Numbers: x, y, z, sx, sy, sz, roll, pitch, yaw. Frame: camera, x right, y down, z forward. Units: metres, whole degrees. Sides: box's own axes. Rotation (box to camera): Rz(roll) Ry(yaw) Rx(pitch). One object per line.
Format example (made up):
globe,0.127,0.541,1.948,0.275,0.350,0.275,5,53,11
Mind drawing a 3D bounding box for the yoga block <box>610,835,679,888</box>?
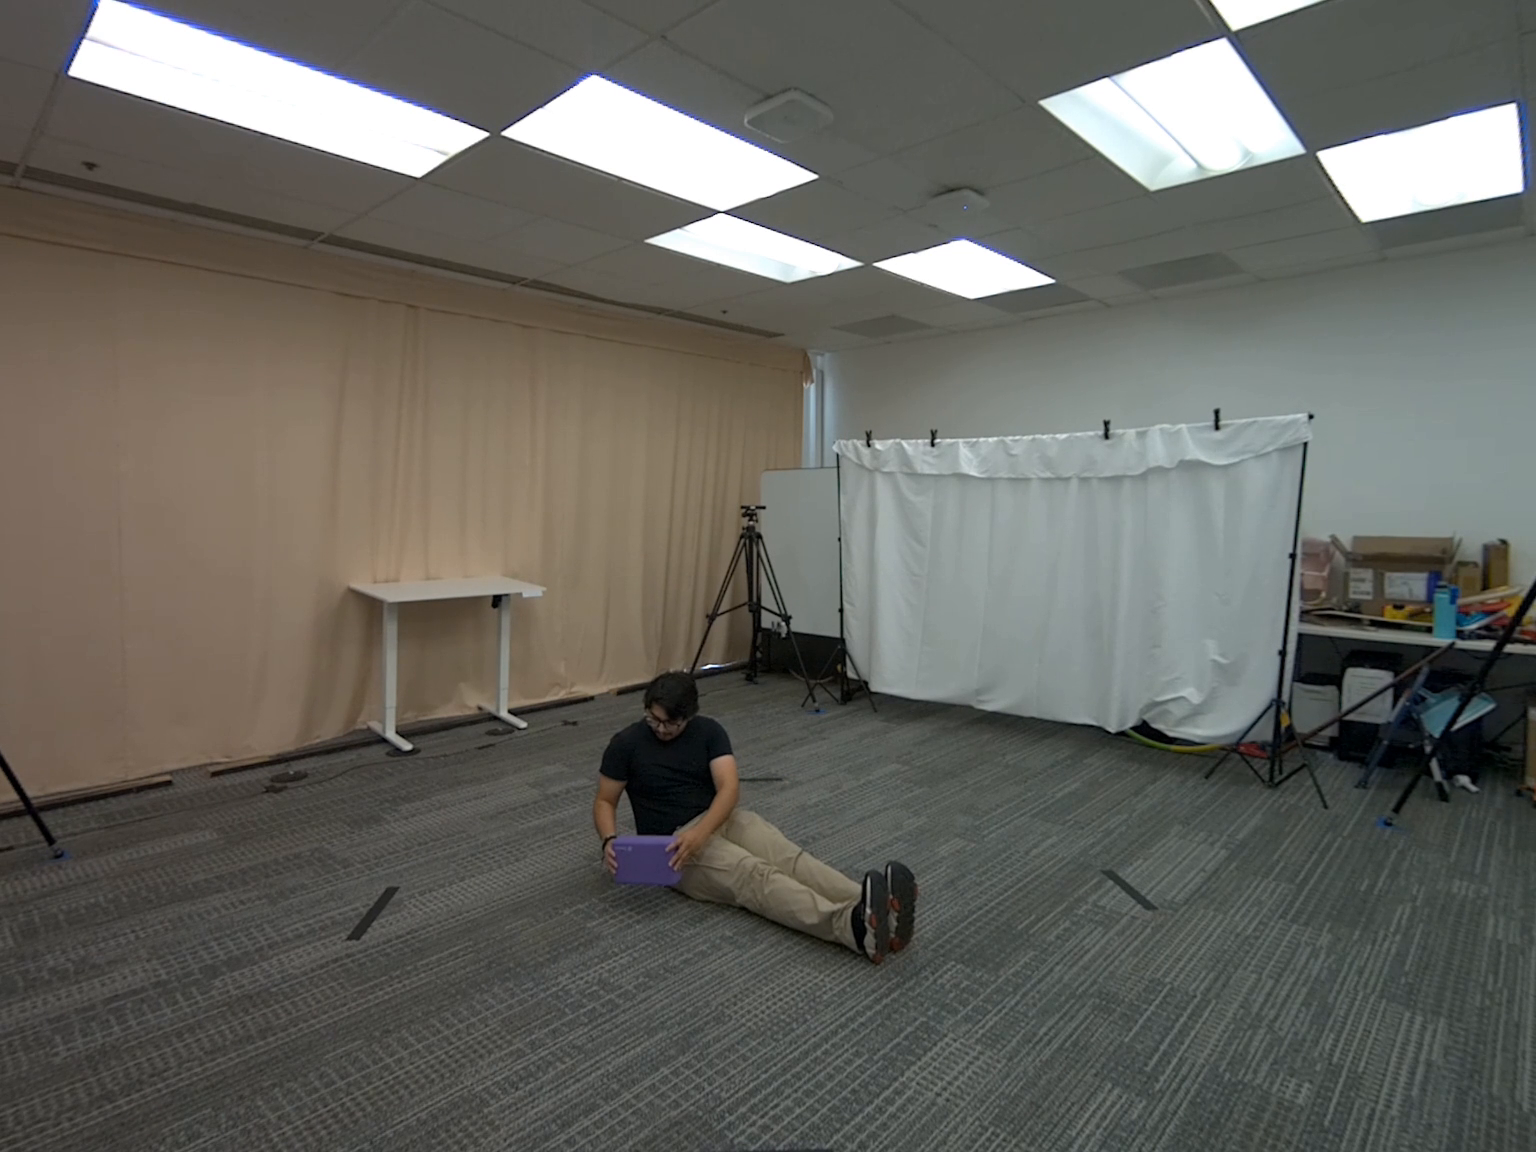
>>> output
yoga block,-0.419,0.968,2.891,0.233,0.149,0.075,-2,0,17
